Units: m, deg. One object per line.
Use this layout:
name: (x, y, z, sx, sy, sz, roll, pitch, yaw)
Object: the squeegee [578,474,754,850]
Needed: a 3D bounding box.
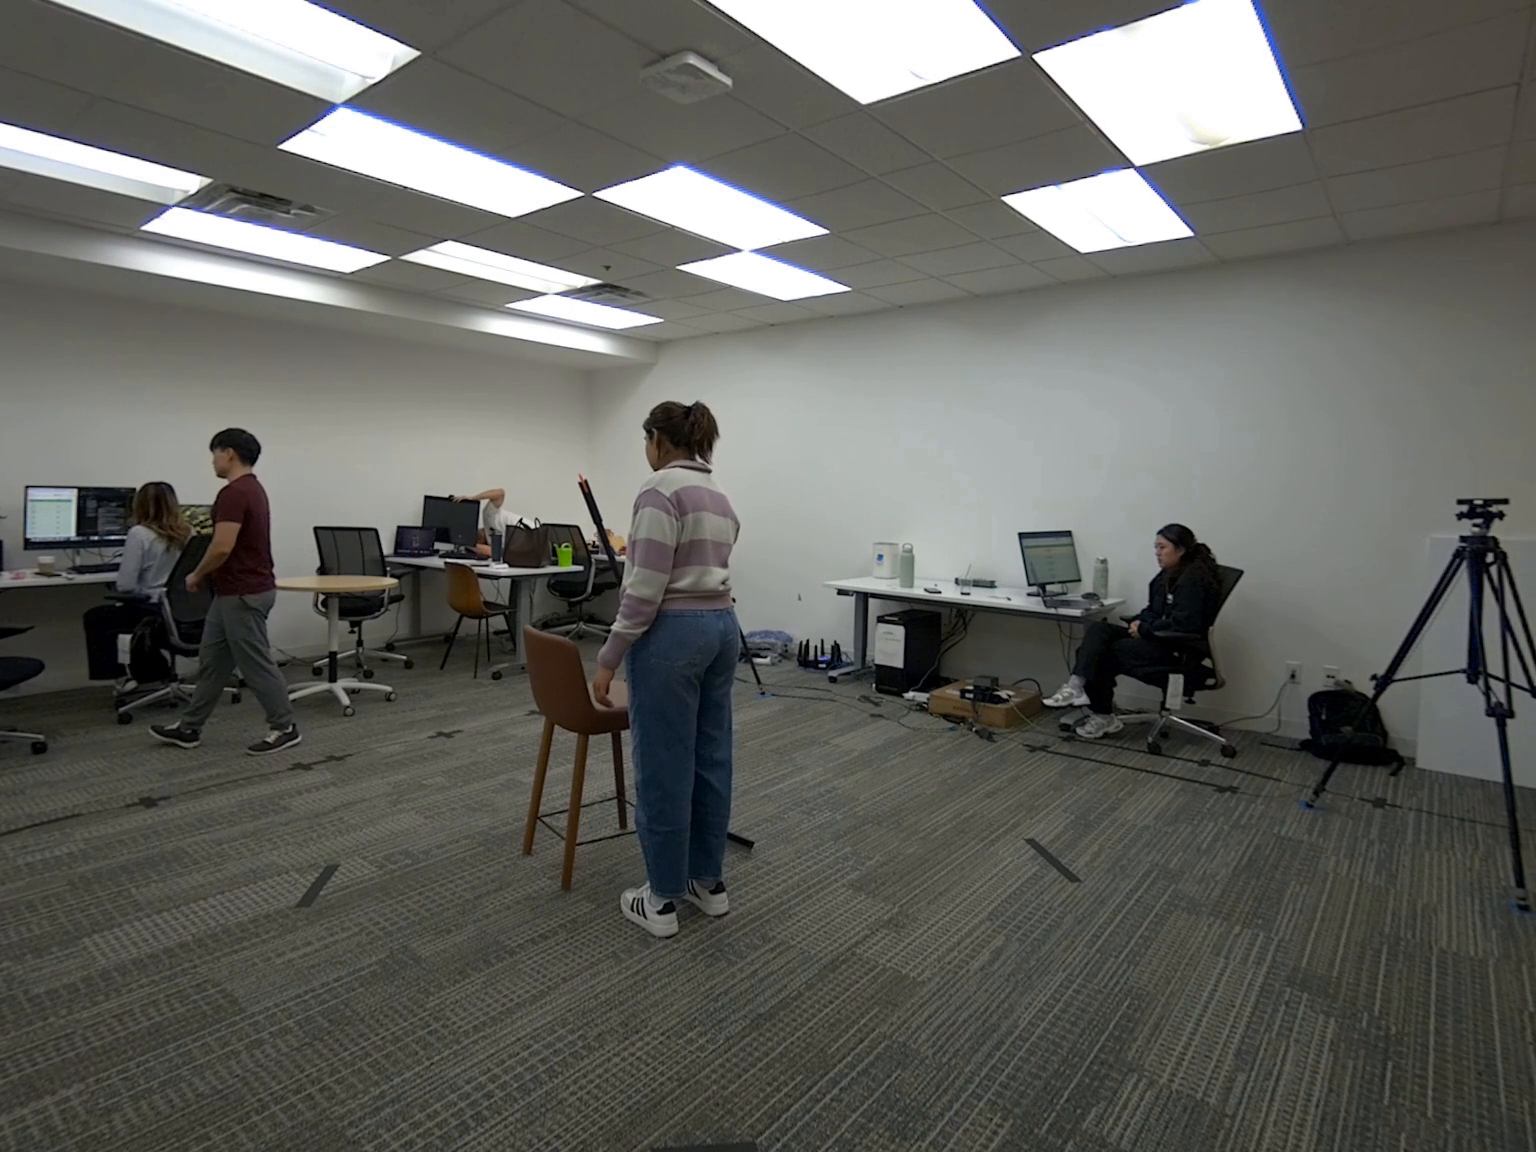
squeegee: (-0.448, 0.331, 3.202, 0.052, 1.513, 0.450, -30, 17, -39)
